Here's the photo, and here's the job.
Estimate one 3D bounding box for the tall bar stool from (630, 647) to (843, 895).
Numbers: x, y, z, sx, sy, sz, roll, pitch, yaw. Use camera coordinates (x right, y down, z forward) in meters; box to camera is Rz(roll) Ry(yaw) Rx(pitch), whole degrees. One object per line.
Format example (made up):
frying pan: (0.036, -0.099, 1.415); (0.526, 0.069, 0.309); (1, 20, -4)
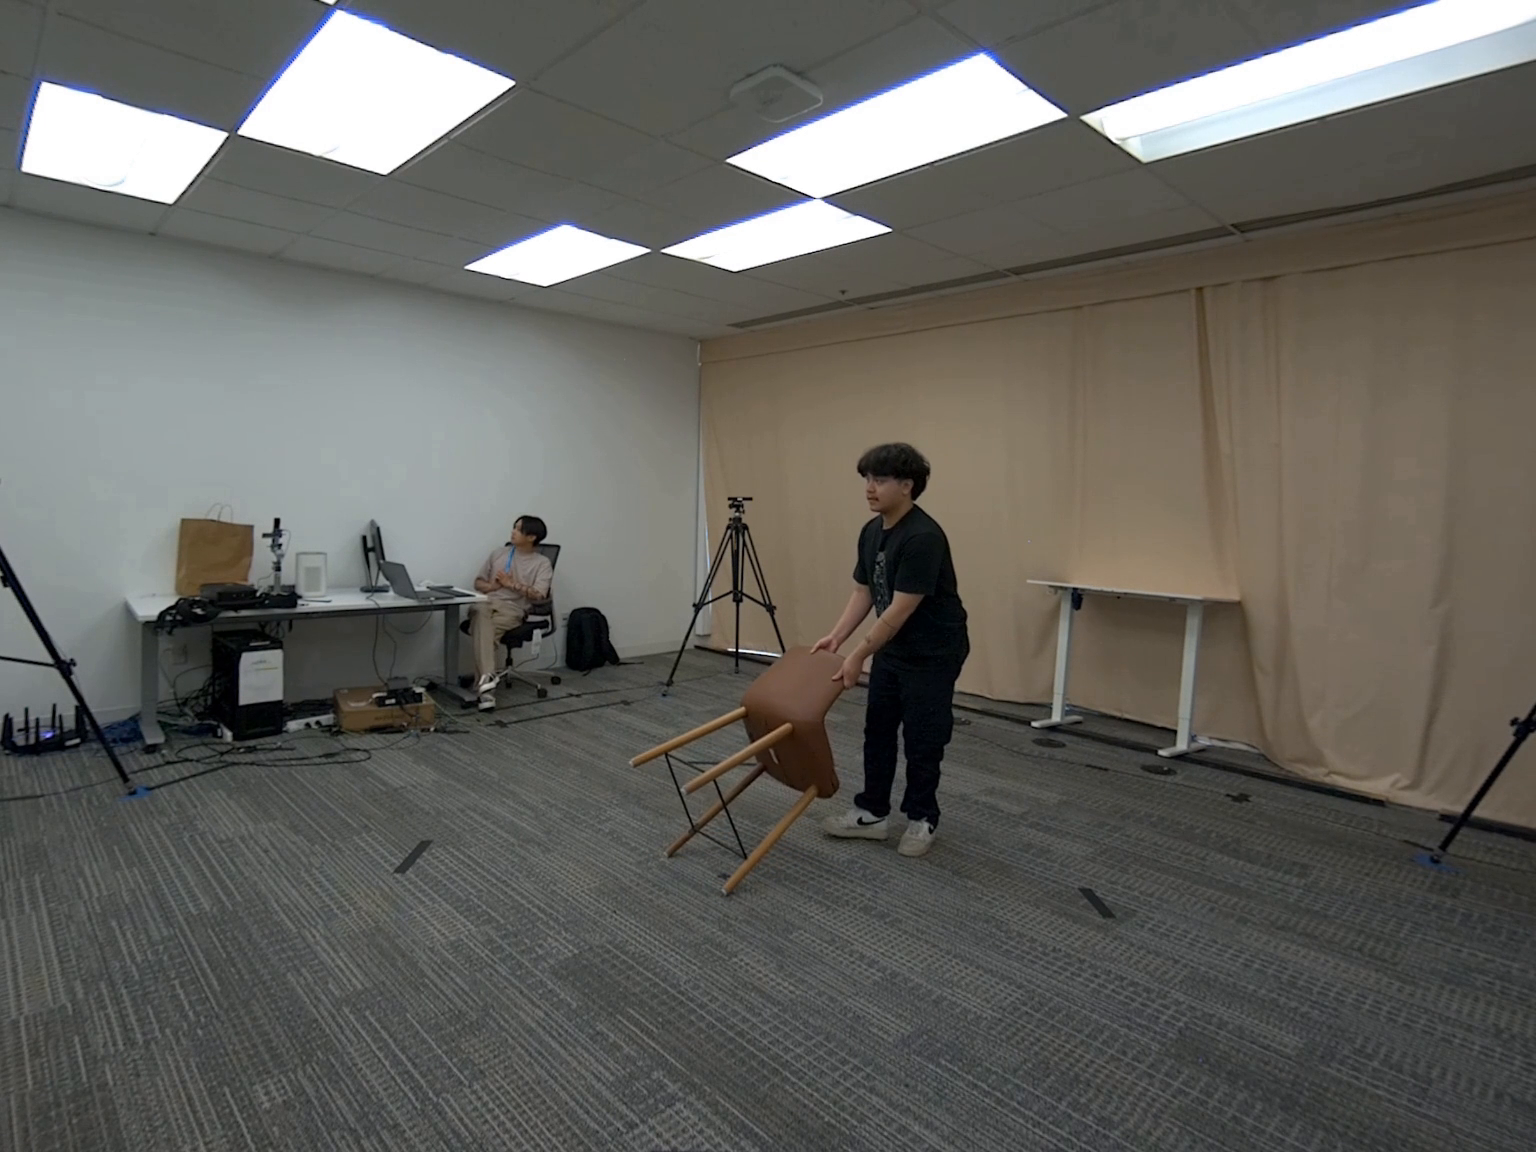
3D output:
tall bar stool: (-0.033, 0.707, 3.259); (0.883, 0.459, 0.468); (-34, 24, -33)
